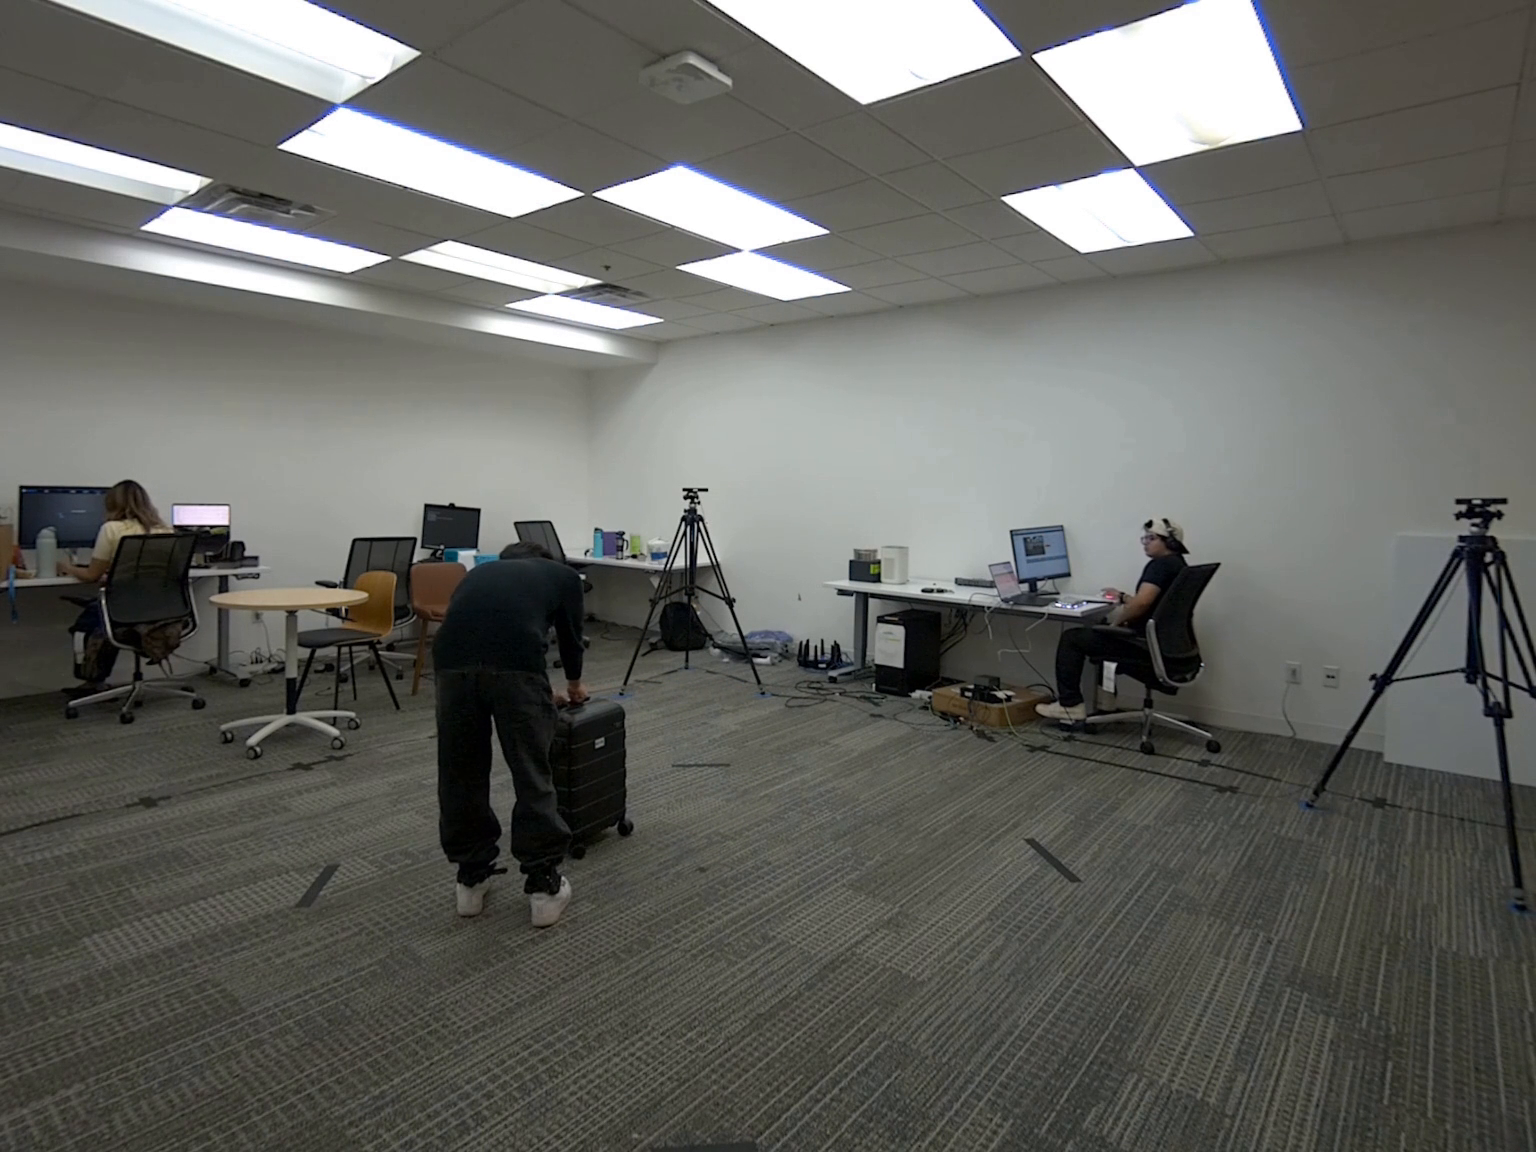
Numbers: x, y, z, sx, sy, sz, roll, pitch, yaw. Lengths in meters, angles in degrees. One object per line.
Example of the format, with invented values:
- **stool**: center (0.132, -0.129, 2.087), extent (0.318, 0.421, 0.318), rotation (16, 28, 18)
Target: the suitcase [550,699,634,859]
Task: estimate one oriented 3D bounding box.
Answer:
- **suitcase**: center (-0.755, 0.765, 3.353), extent (0.256, 0.547, 0.365), rotation (3, 5, 32)
